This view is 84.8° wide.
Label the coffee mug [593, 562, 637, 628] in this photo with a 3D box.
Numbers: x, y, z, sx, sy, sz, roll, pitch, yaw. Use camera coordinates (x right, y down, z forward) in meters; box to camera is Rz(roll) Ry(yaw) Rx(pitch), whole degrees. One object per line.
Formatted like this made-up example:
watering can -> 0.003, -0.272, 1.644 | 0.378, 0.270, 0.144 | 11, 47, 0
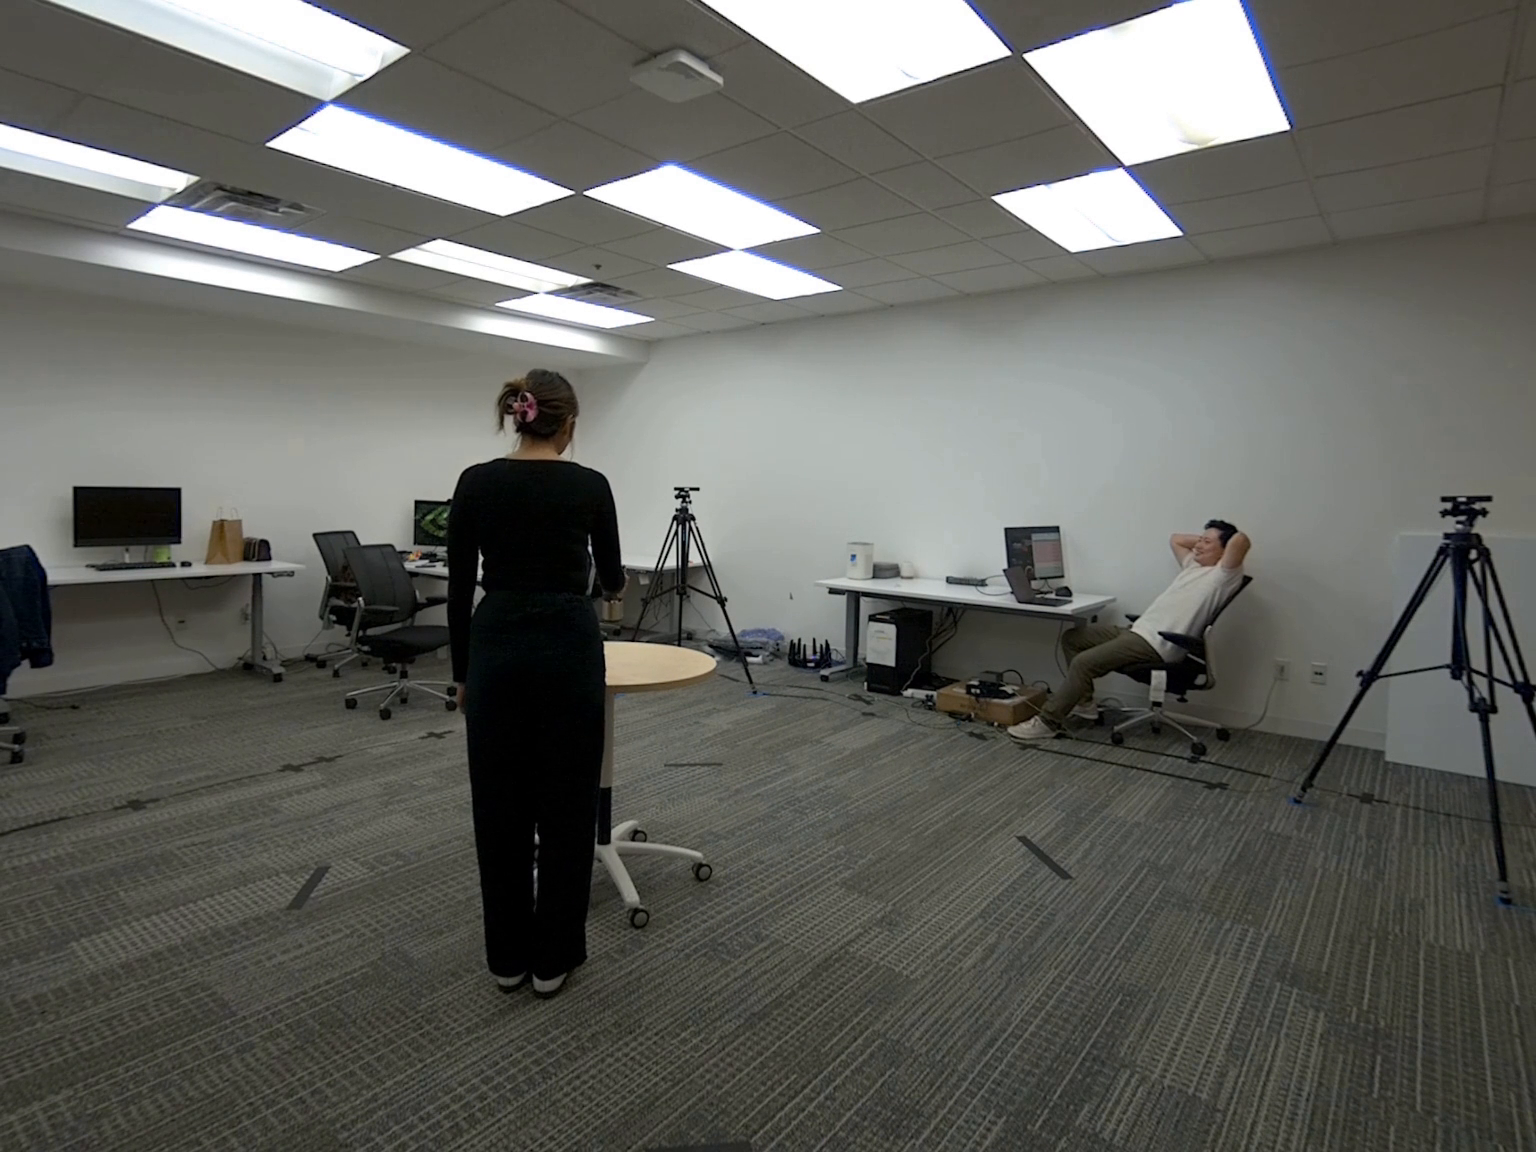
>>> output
coffee mug -> -0.537, 0.061, 2.936 | 0.091, 0.201, 0.119 | 9, 12, 39
